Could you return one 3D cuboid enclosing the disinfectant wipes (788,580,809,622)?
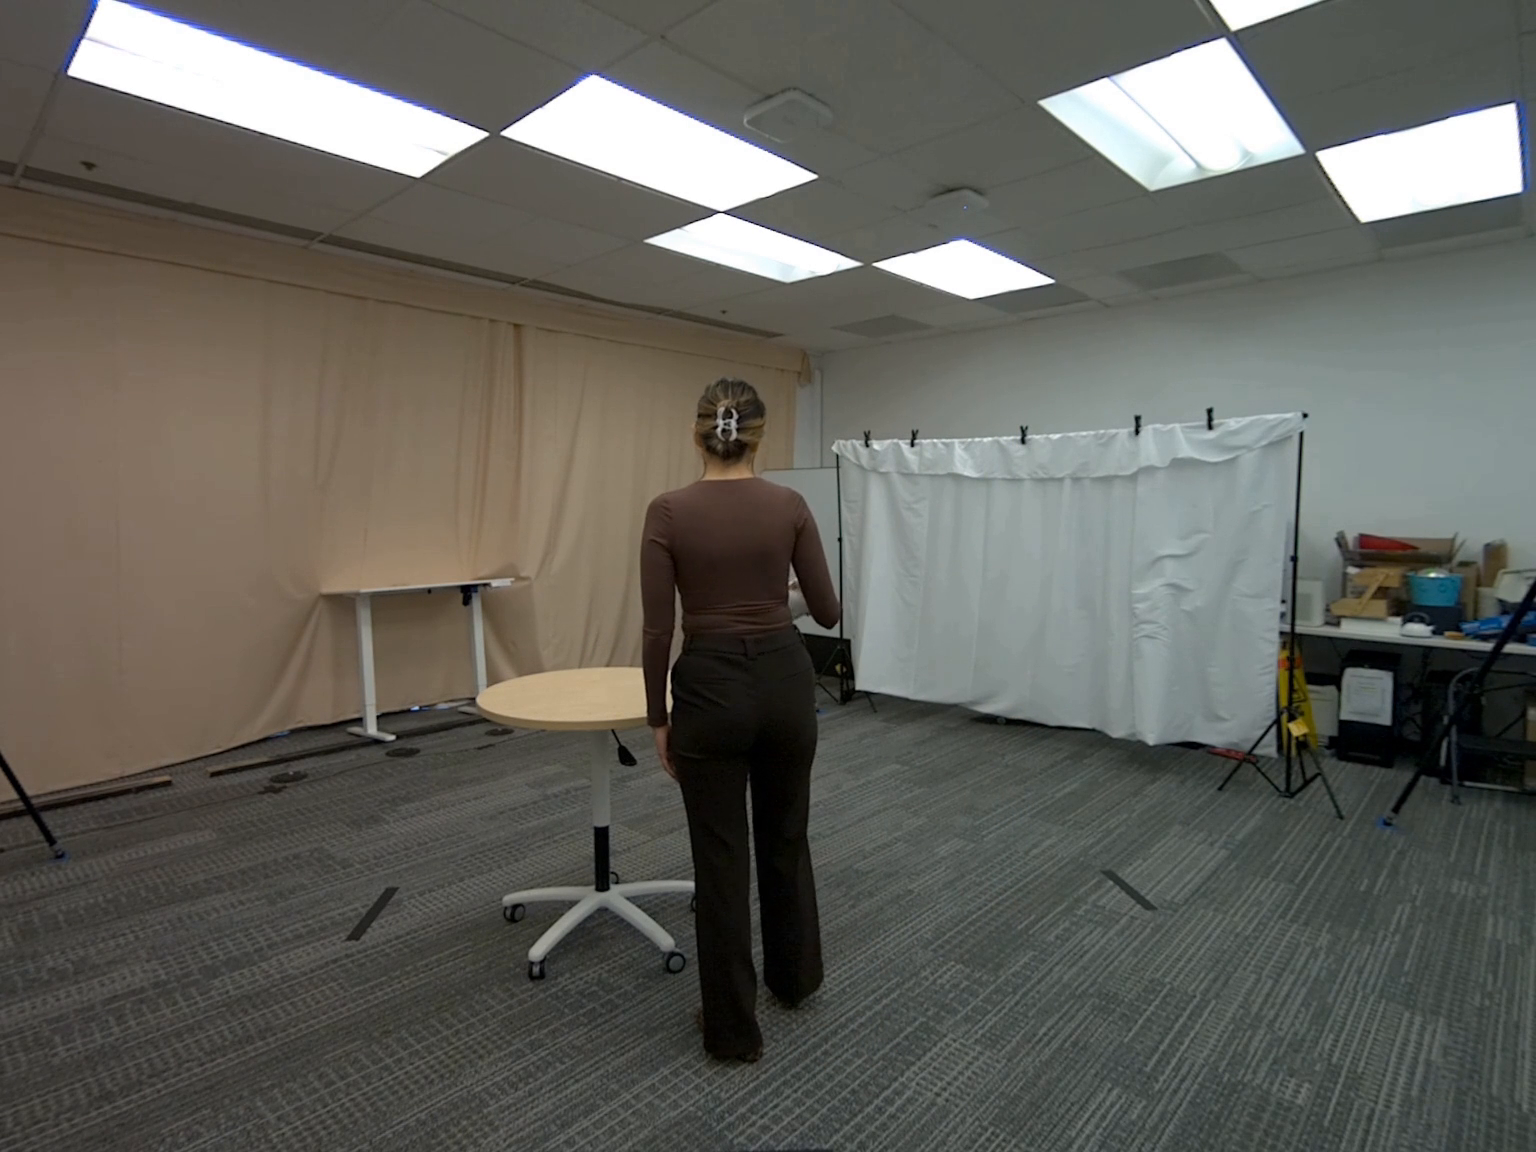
[{"bbox_3d":[0.048,0.094,2.573,0.221,0.119,0.114,-32,-15,31],"label":"disinfectant wipes"}]
